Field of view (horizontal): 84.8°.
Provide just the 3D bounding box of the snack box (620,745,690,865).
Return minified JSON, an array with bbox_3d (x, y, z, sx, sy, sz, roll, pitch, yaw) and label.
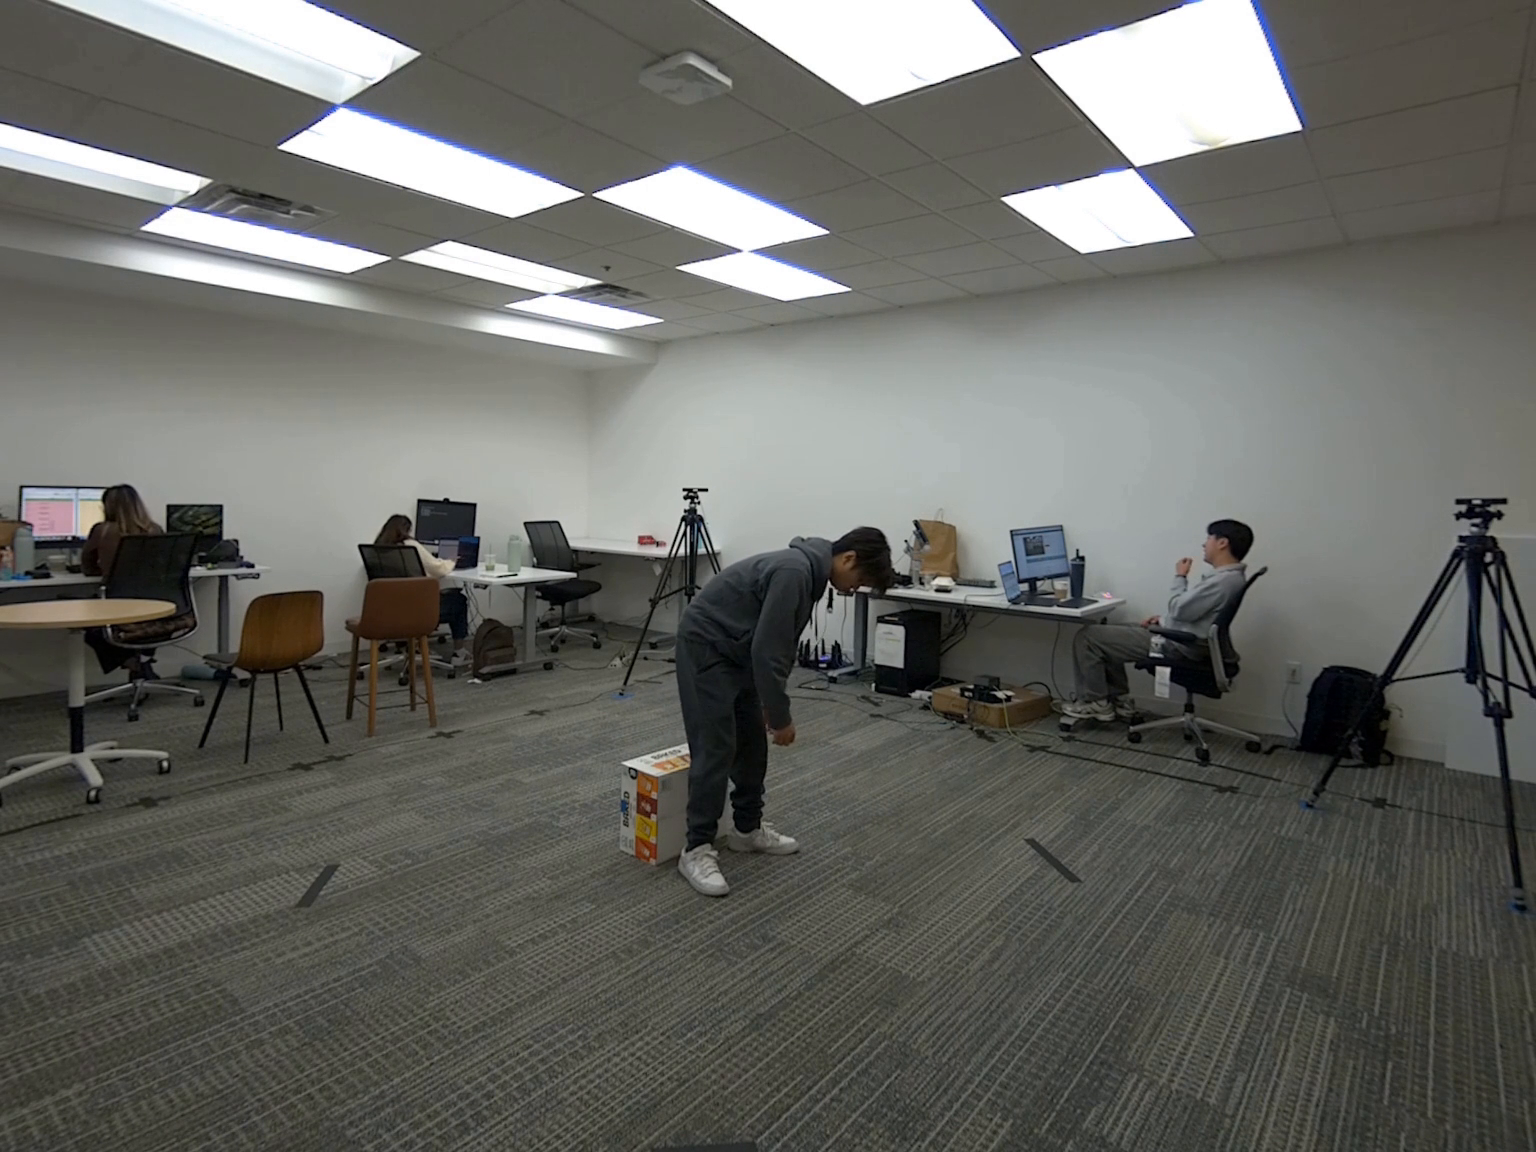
[{"bbox_3d":[-0.371,0.876,3.332,0.213,0.339,0.393,6,6,40],"label":"snack box"}]
